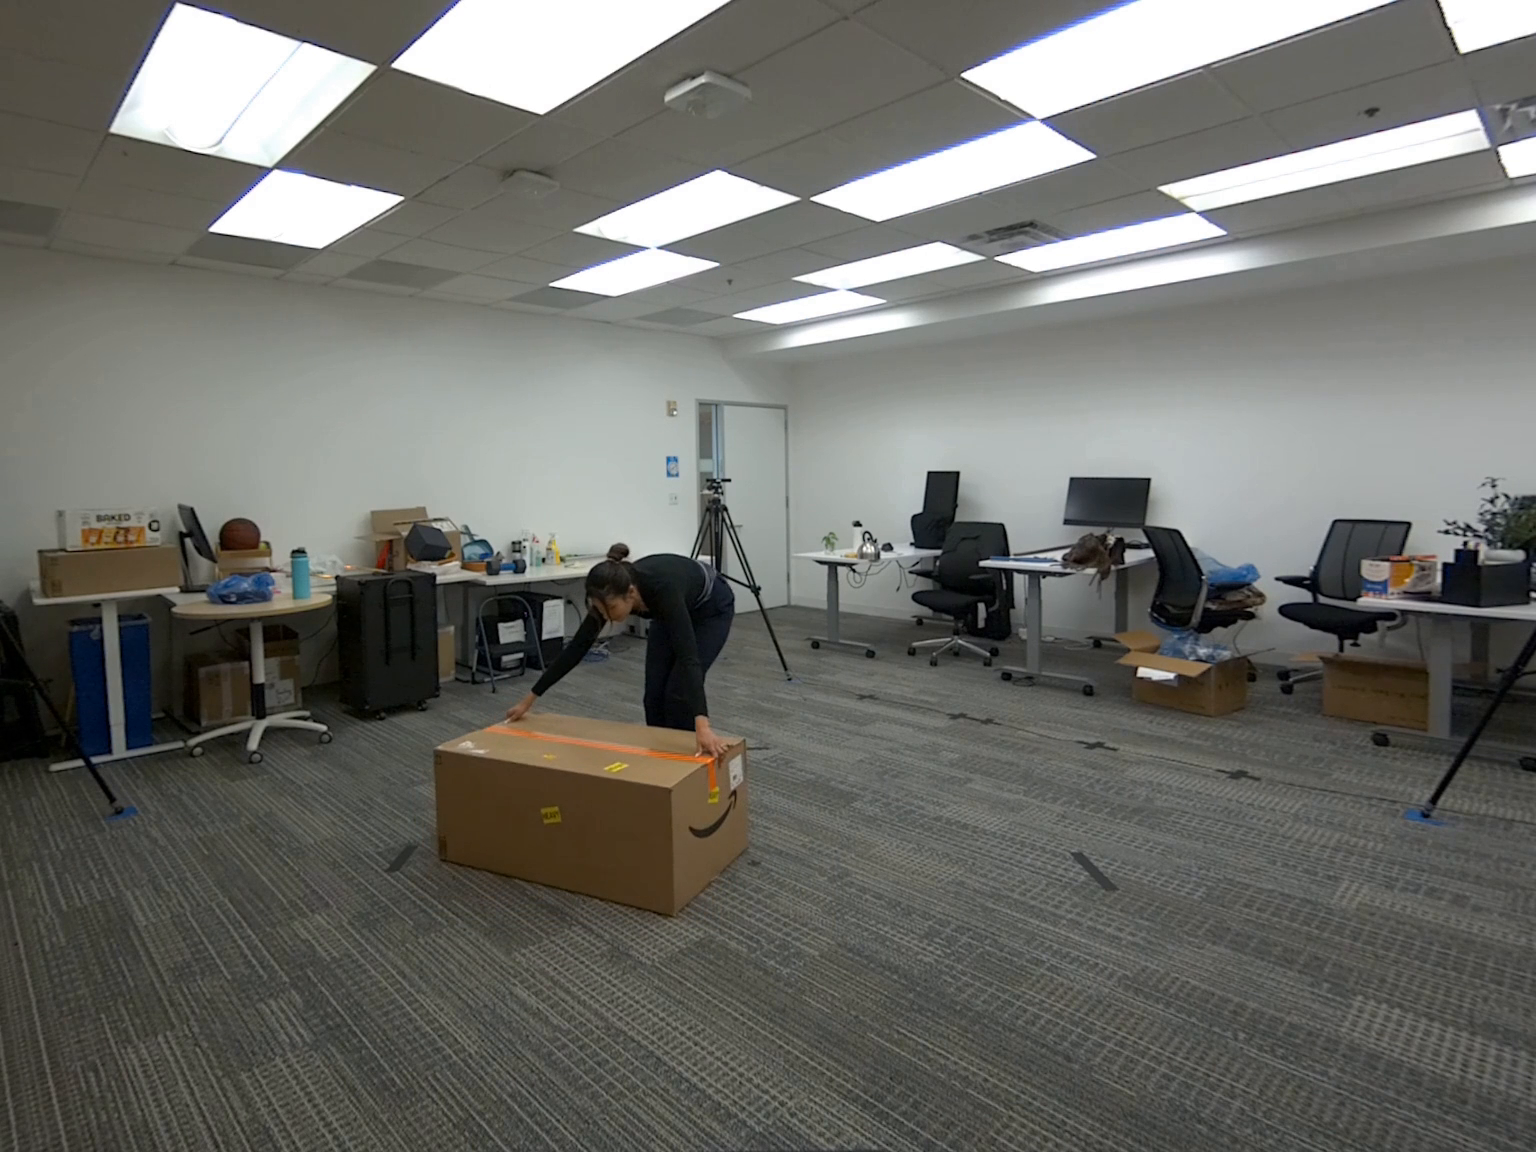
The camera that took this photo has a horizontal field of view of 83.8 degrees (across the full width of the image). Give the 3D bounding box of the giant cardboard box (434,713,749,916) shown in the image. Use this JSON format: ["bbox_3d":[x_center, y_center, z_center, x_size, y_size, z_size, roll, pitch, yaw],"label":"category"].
[{"bbox_3d":[-0.653,0.830,3.198,1.050,0.424,0.566,2,6,26],"label":"giant cardboard box"}]
